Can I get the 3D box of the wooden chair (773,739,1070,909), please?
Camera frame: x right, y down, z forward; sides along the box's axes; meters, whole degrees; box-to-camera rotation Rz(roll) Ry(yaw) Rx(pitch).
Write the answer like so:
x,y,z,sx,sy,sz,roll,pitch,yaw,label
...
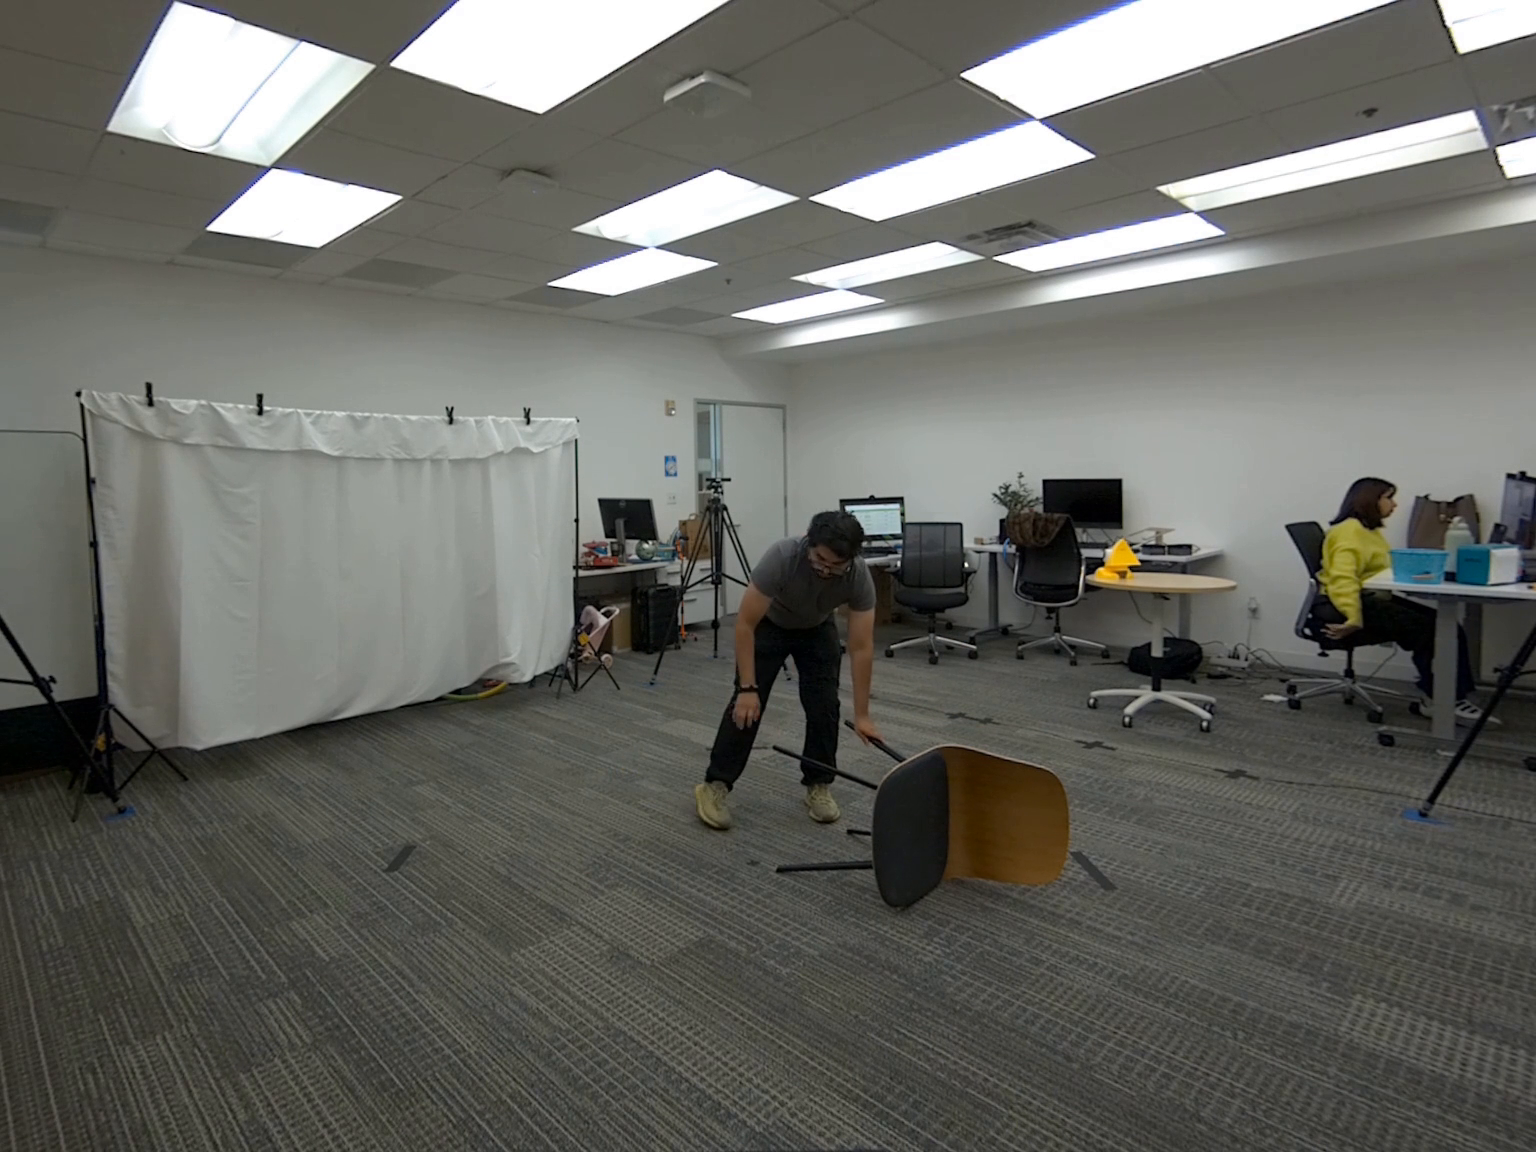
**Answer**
x,y,z,sx,sy,sz,roll,pitch,yaw,label
0.498,0.831,2.886,0.903,0.477,0.510,2,5,37,wooden chair
